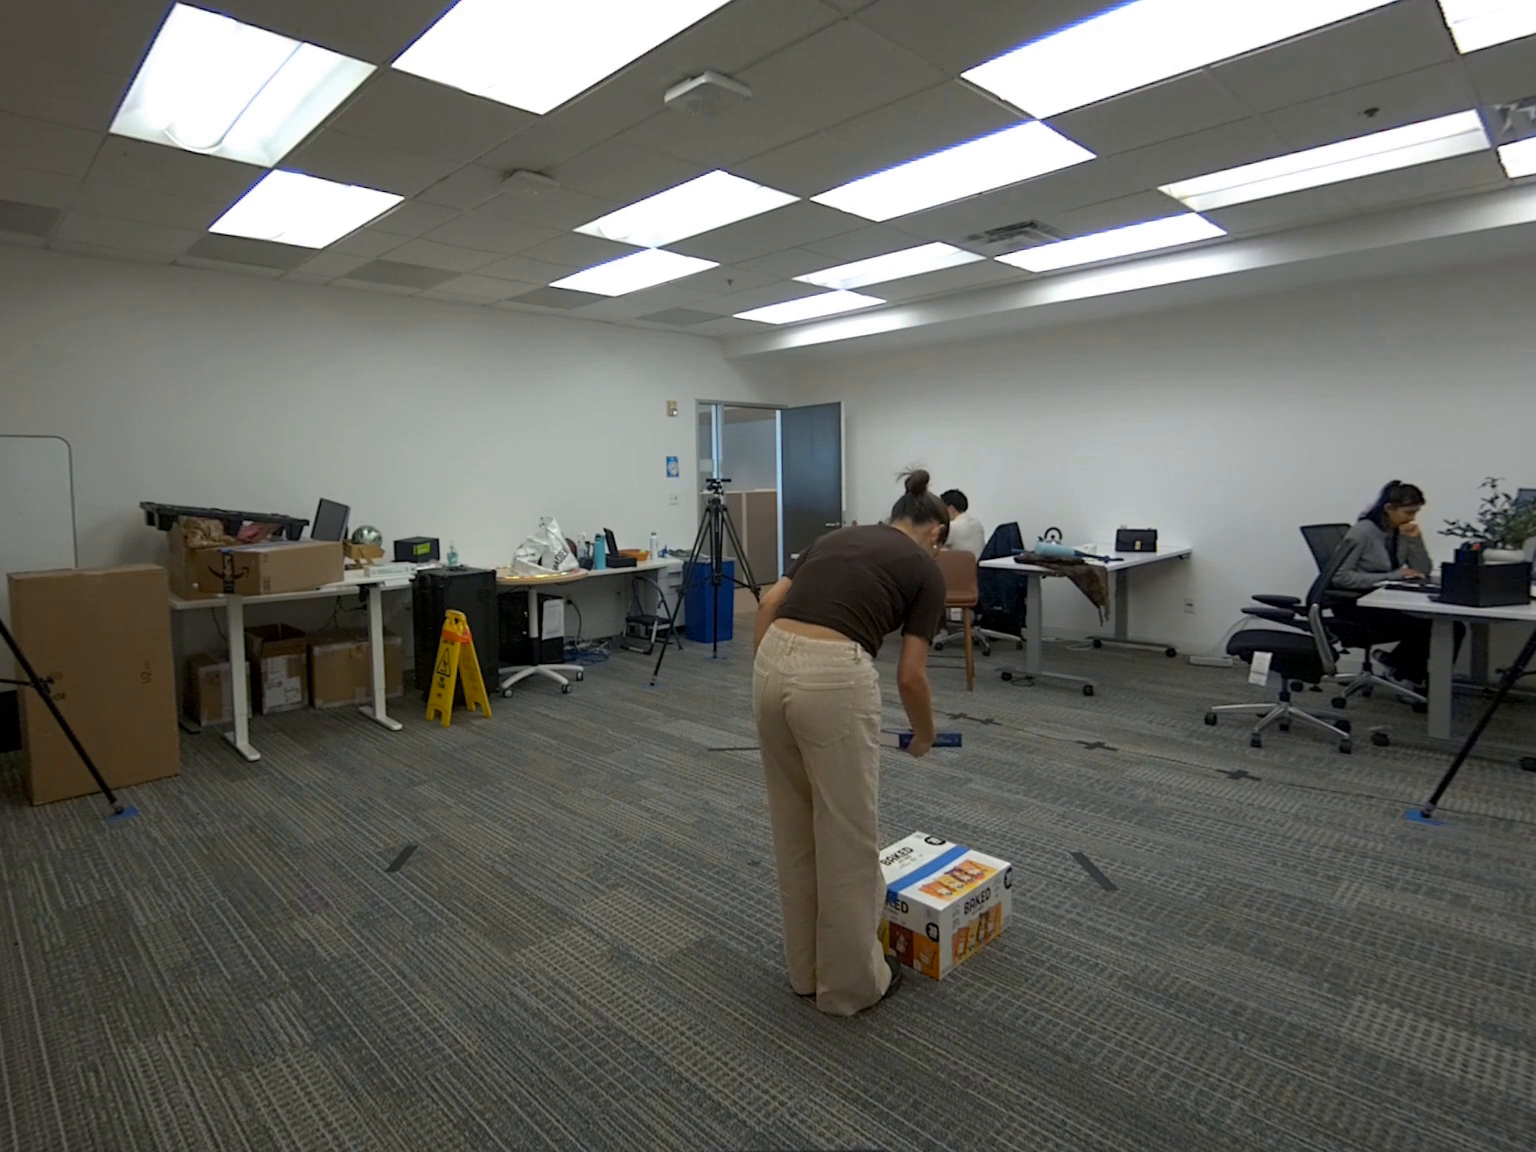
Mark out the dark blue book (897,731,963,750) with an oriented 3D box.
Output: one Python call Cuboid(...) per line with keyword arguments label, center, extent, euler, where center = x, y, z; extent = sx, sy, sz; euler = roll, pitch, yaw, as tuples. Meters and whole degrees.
Cuboid(label="dark blue book", center=(0.430, 0.476, 2.474), extent=(0.238, 0.045, 0.167), euler=(5, -7, -32))
